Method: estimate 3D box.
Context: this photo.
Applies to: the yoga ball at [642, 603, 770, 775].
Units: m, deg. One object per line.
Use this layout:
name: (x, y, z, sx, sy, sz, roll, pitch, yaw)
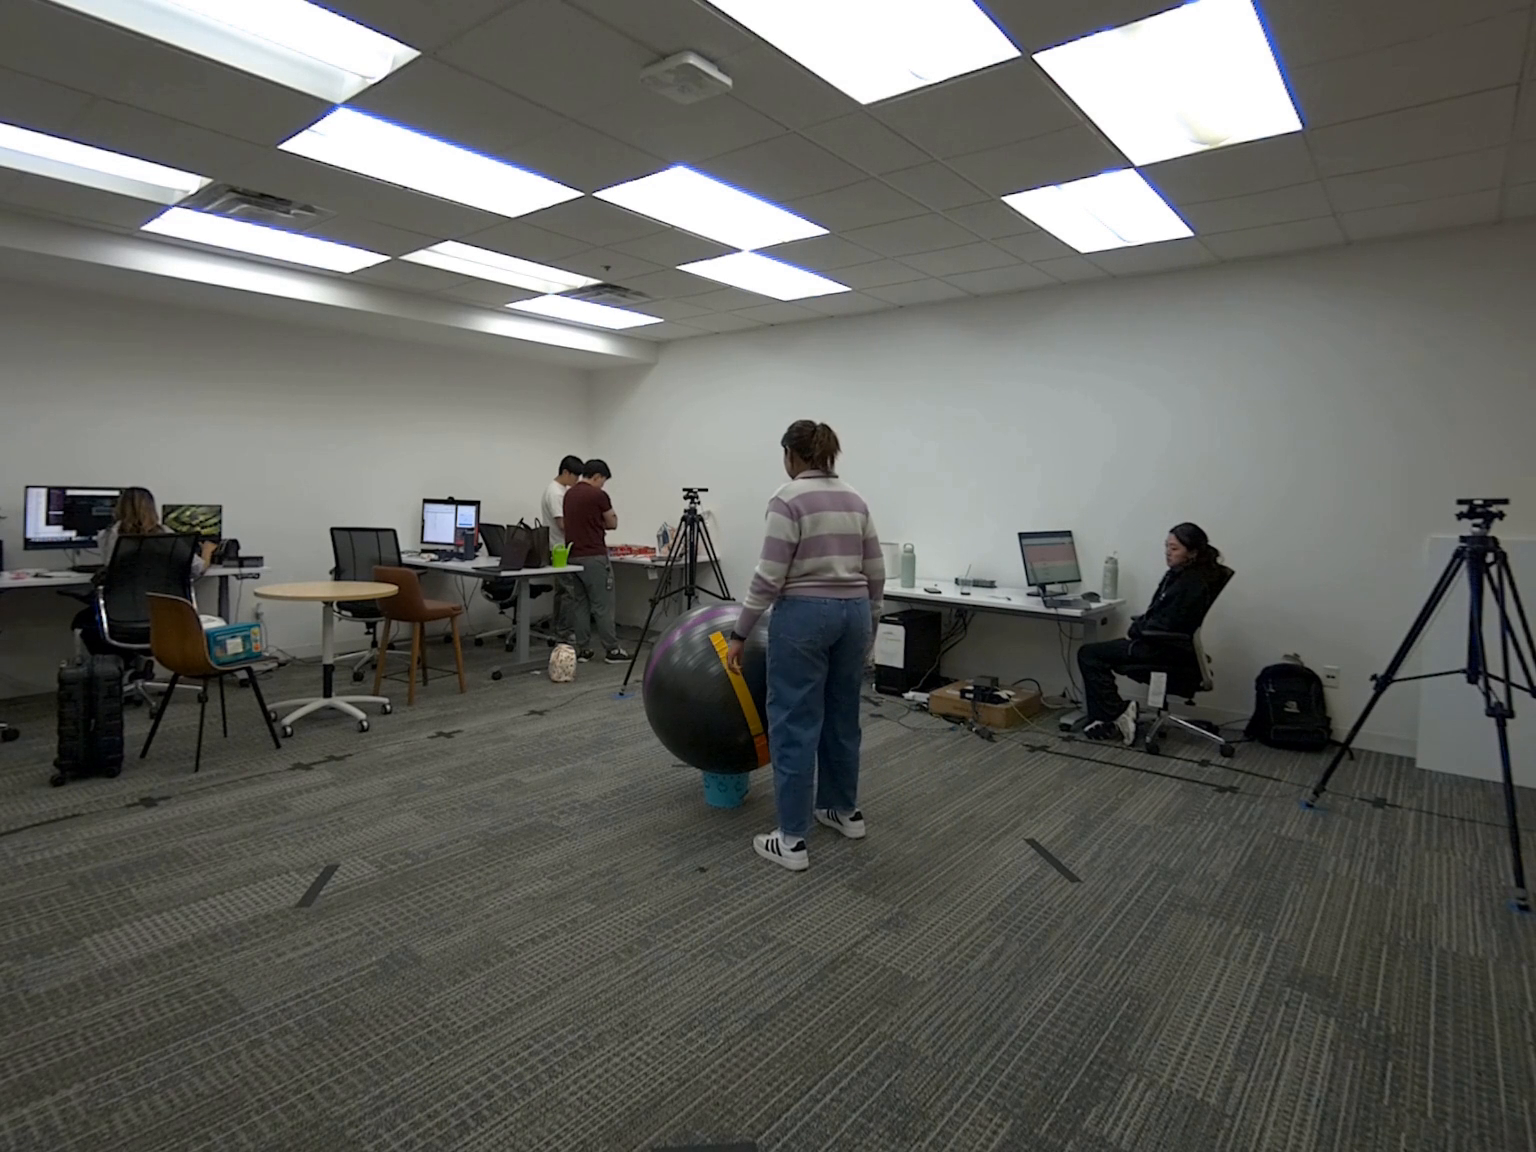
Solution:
yoga ball: (-0.199, 0.499, 3.808, 0.757, 0.756, 0.761, 1, 4, -2)
